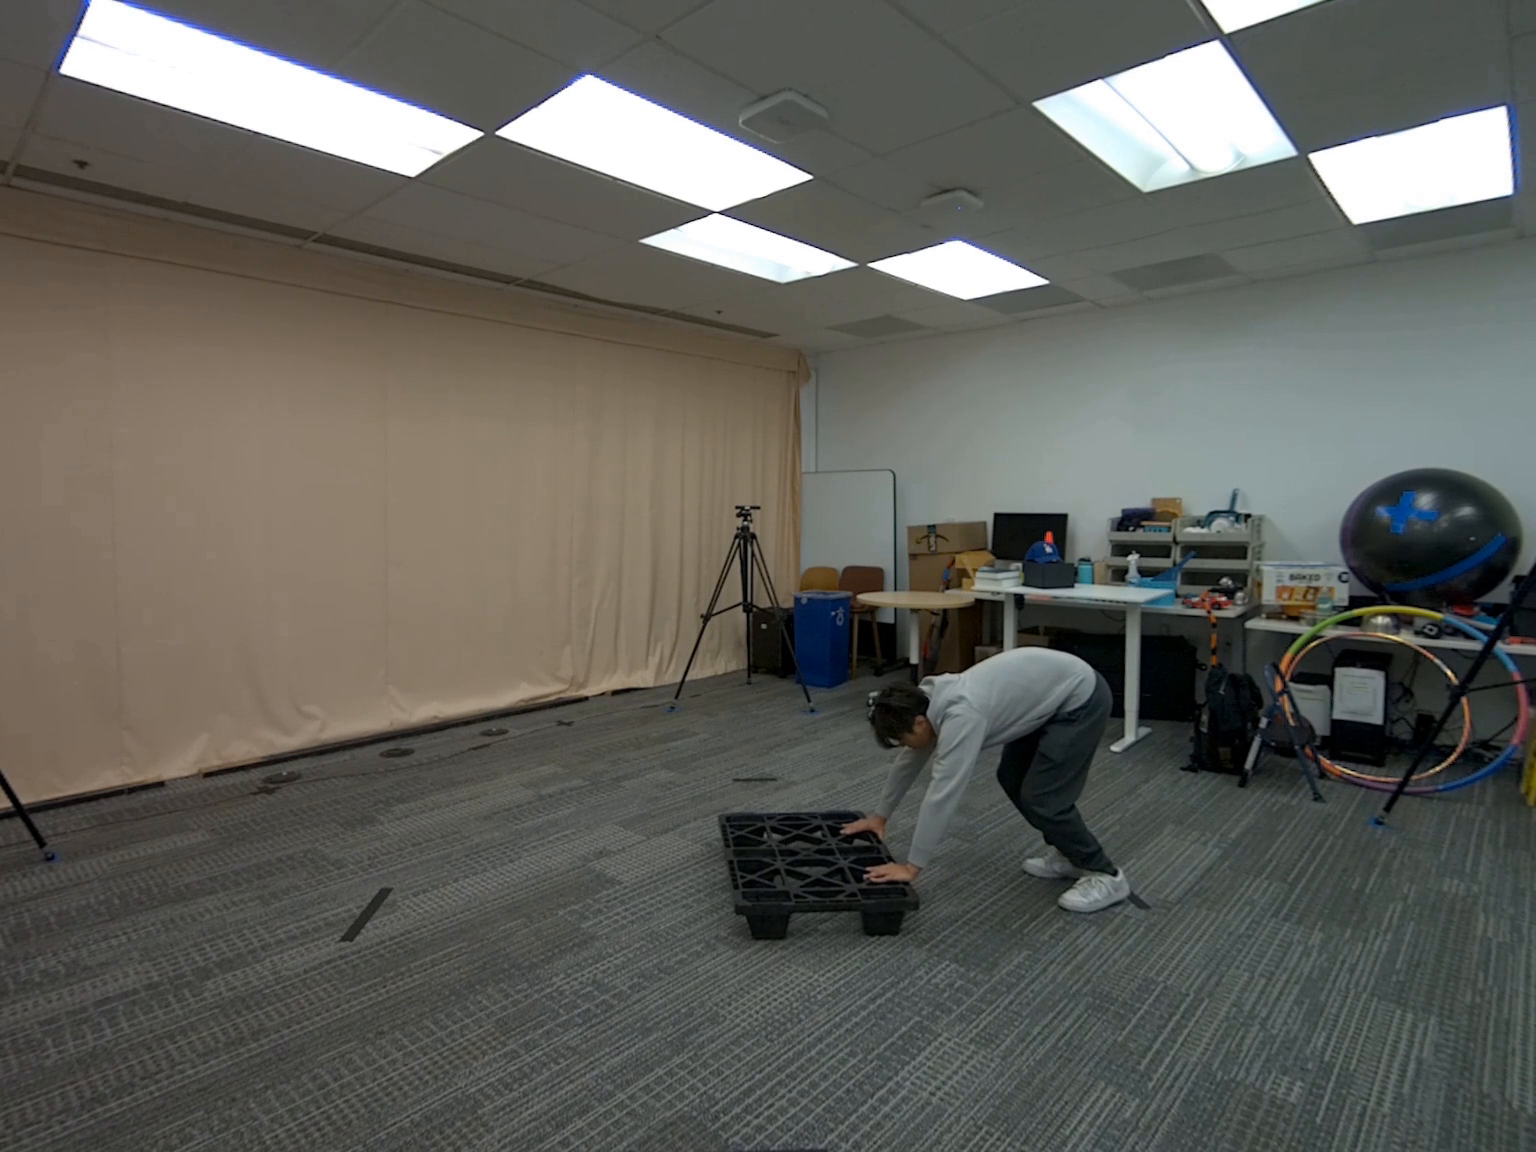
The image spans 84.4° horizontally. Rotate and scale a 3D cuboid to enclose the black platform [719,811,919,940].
[{"bbox_3d":[0.147,1.065,3.070,0.602,0.143,0.812,-1,5,-6],"label":"black platform"}]
